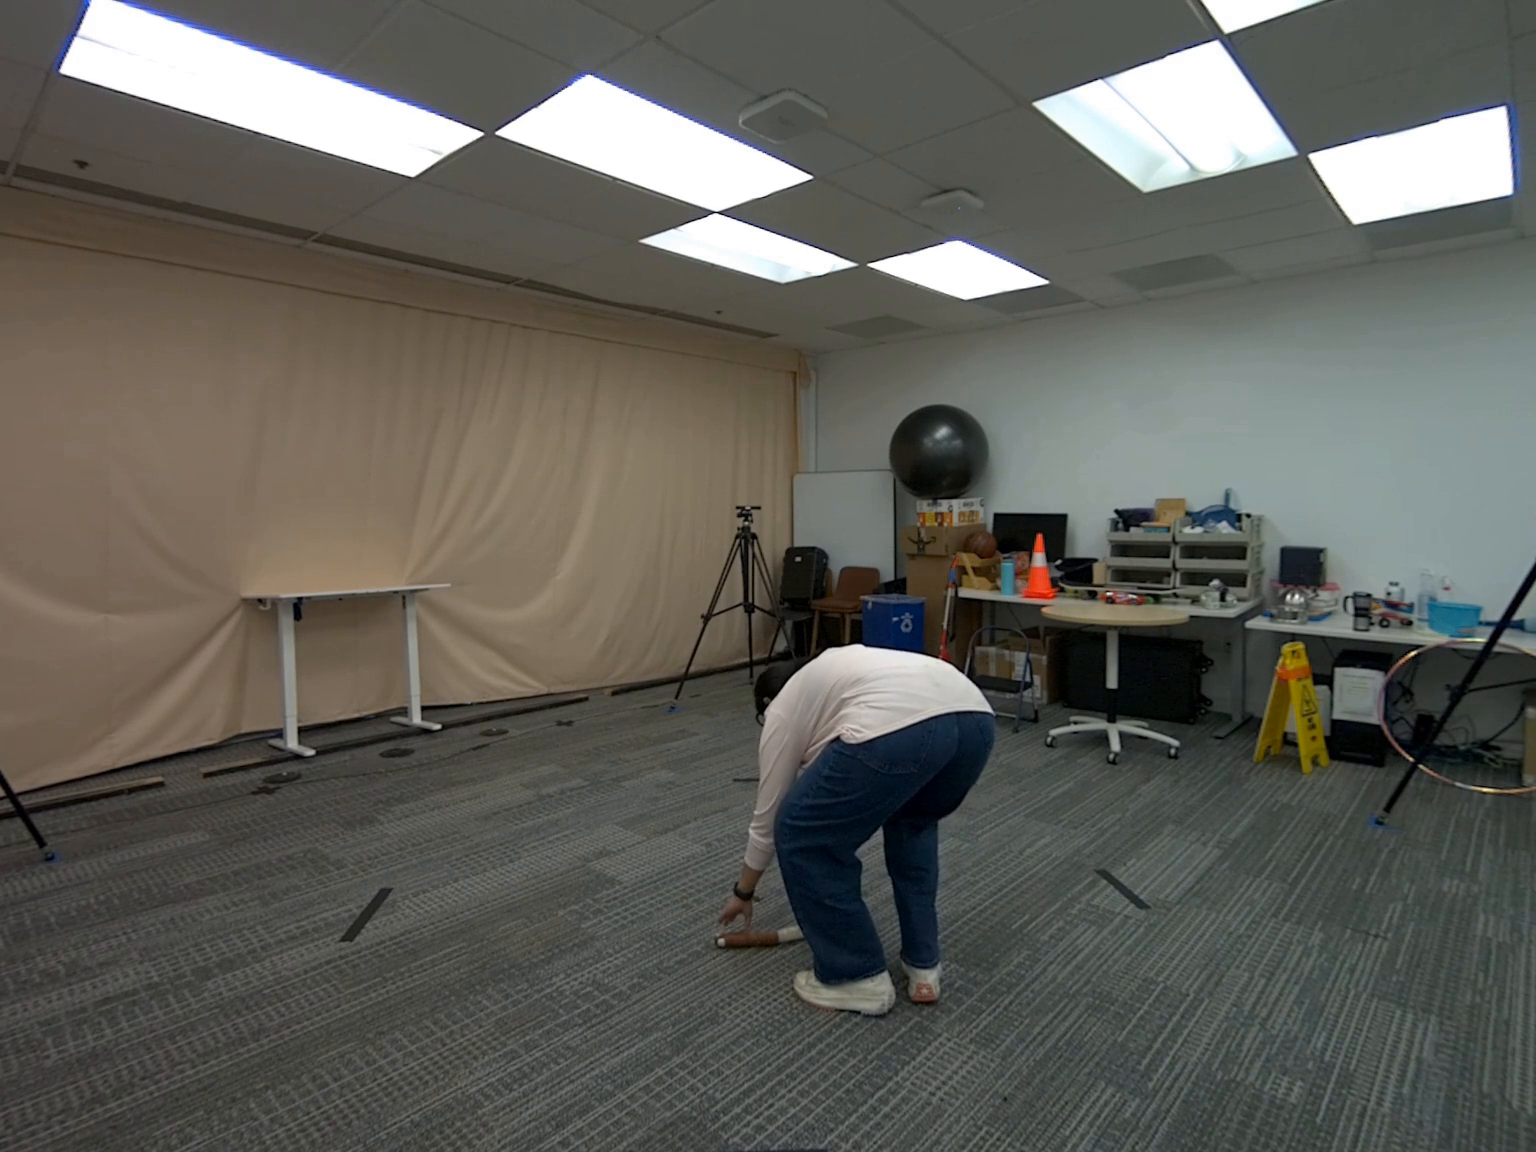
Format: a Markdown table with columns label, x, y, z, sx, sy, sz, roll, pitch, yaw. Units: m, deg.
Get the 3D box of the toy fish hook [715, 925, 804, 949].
| label | x | y | z | sx | sy | sz | roll | pitch | yaw |
| --- | --- | --- | --- | --- | --- | --- | --- | --- | --- |
| toy fish hook | 0.091 | 1.144 | 2.636 | 0.501 | 0.048 | 0.227 | 2 | 2 | -11 |
